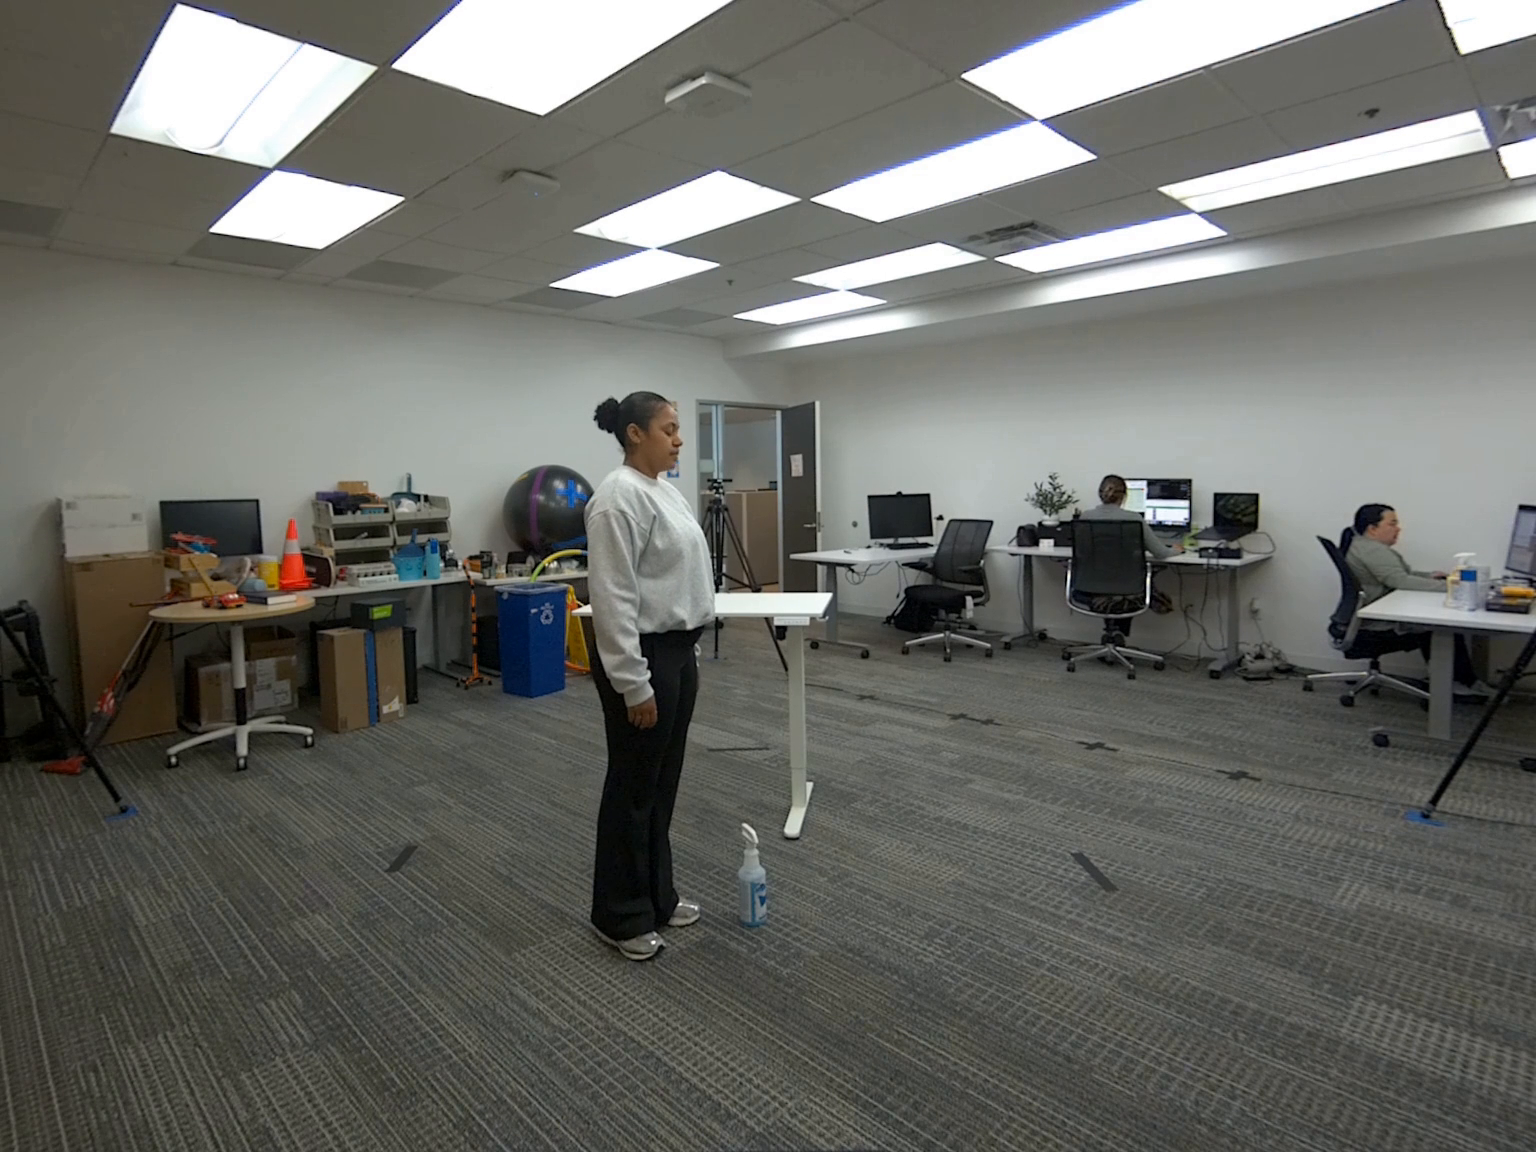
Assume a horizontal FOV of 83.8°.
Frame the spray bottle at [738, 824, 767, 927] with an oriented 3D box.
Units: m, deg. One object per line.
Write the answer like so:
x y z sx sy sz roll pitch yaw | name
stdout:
-0.051 0.944 2.697 0.087 0.297 0.090 -1 2 0 | spray bottle
